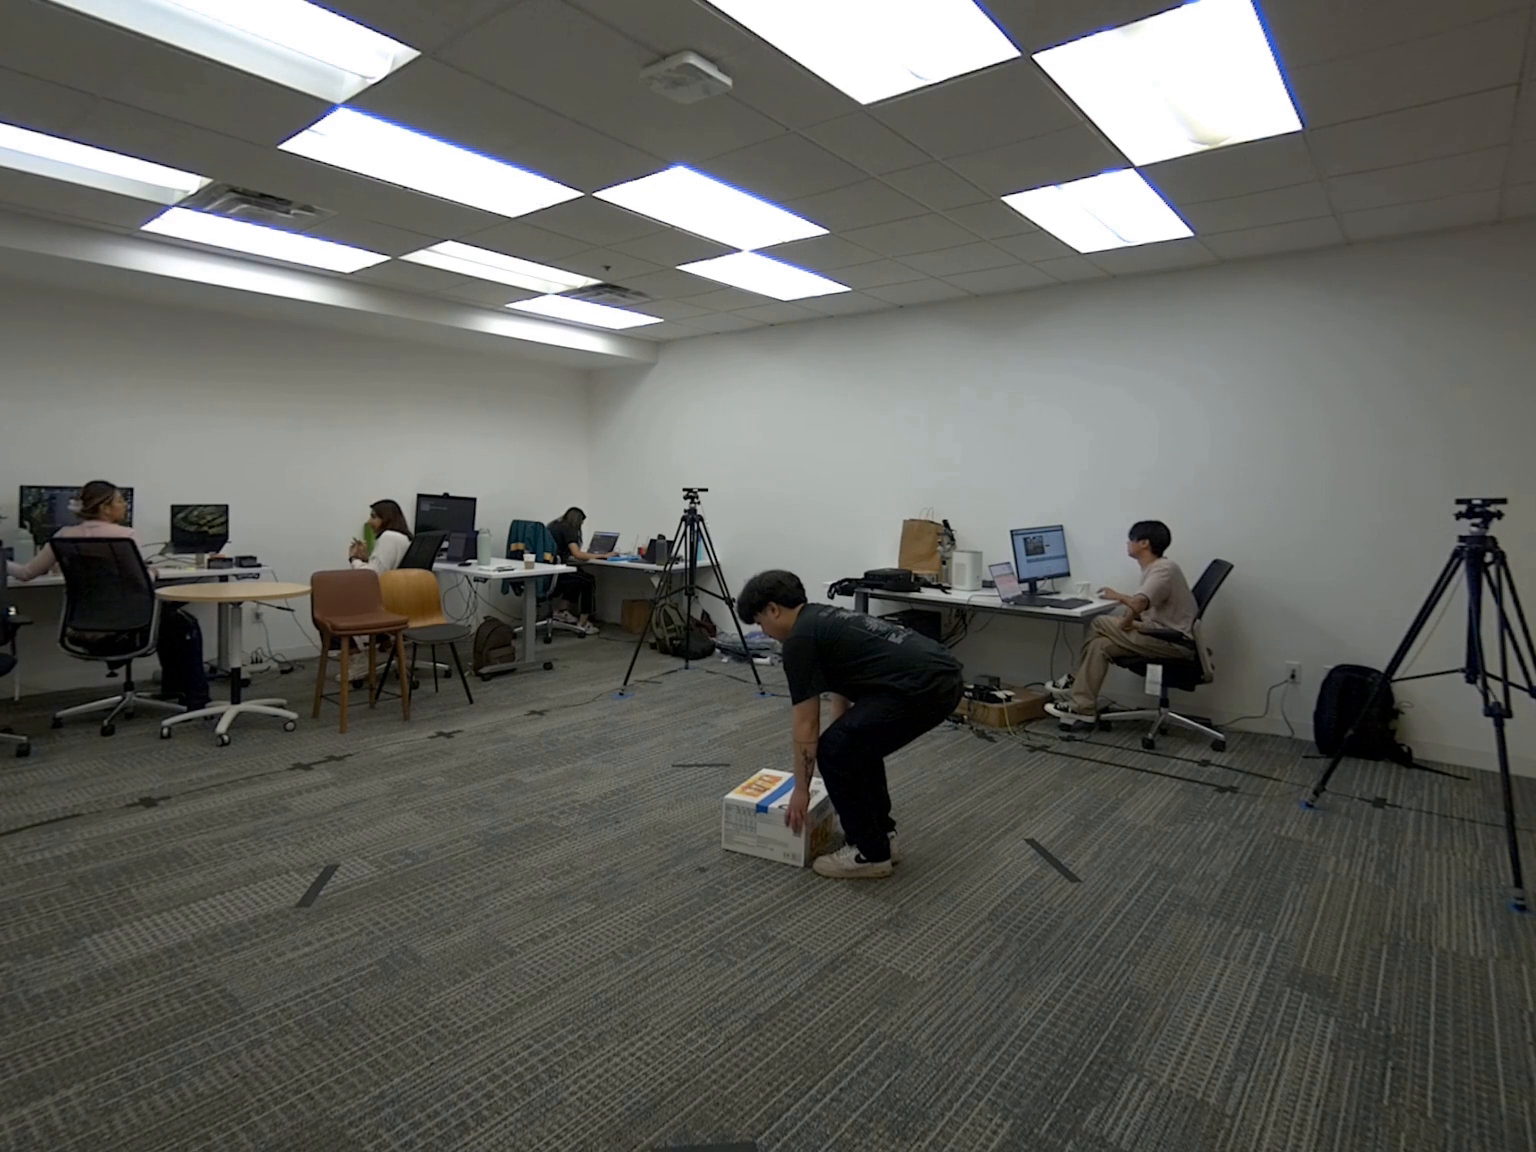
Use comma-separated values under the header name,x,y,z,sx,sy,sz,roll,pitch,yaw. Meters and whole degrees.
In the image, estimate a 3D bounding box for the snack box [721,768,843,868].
name,x,y,z,sx,sy,sz,roll,pitch,yaw
snack box,0.046,0.945,3.380,0.349,0.205,0.396,4,6,25
